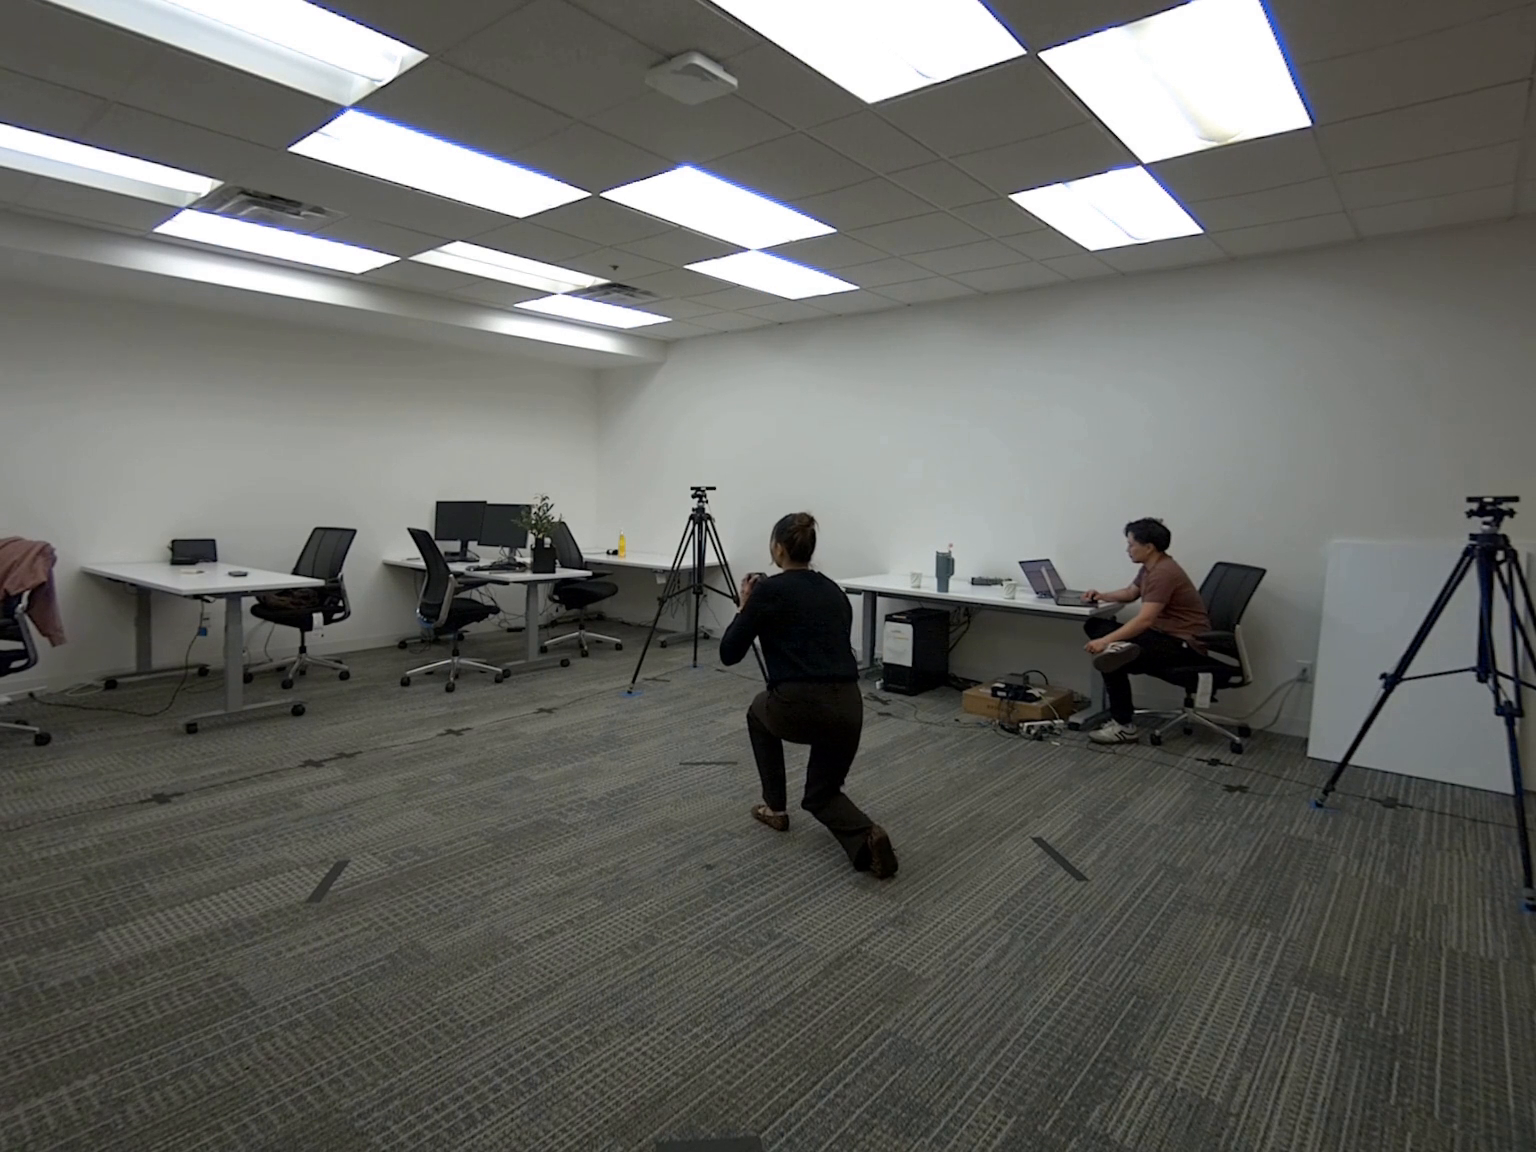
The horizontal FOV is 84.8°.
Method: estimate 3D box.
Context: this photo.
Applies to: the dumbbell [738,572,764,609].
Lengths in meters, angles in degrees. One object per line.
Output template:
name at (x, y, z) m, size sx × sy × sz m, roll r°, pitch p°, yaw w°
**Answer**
dumbbell at (0.039, 0.036, 3.547) m, size 0.286 × 0.107 × 0.128 m, roll -1°, pitch 40°, yaw -27°
